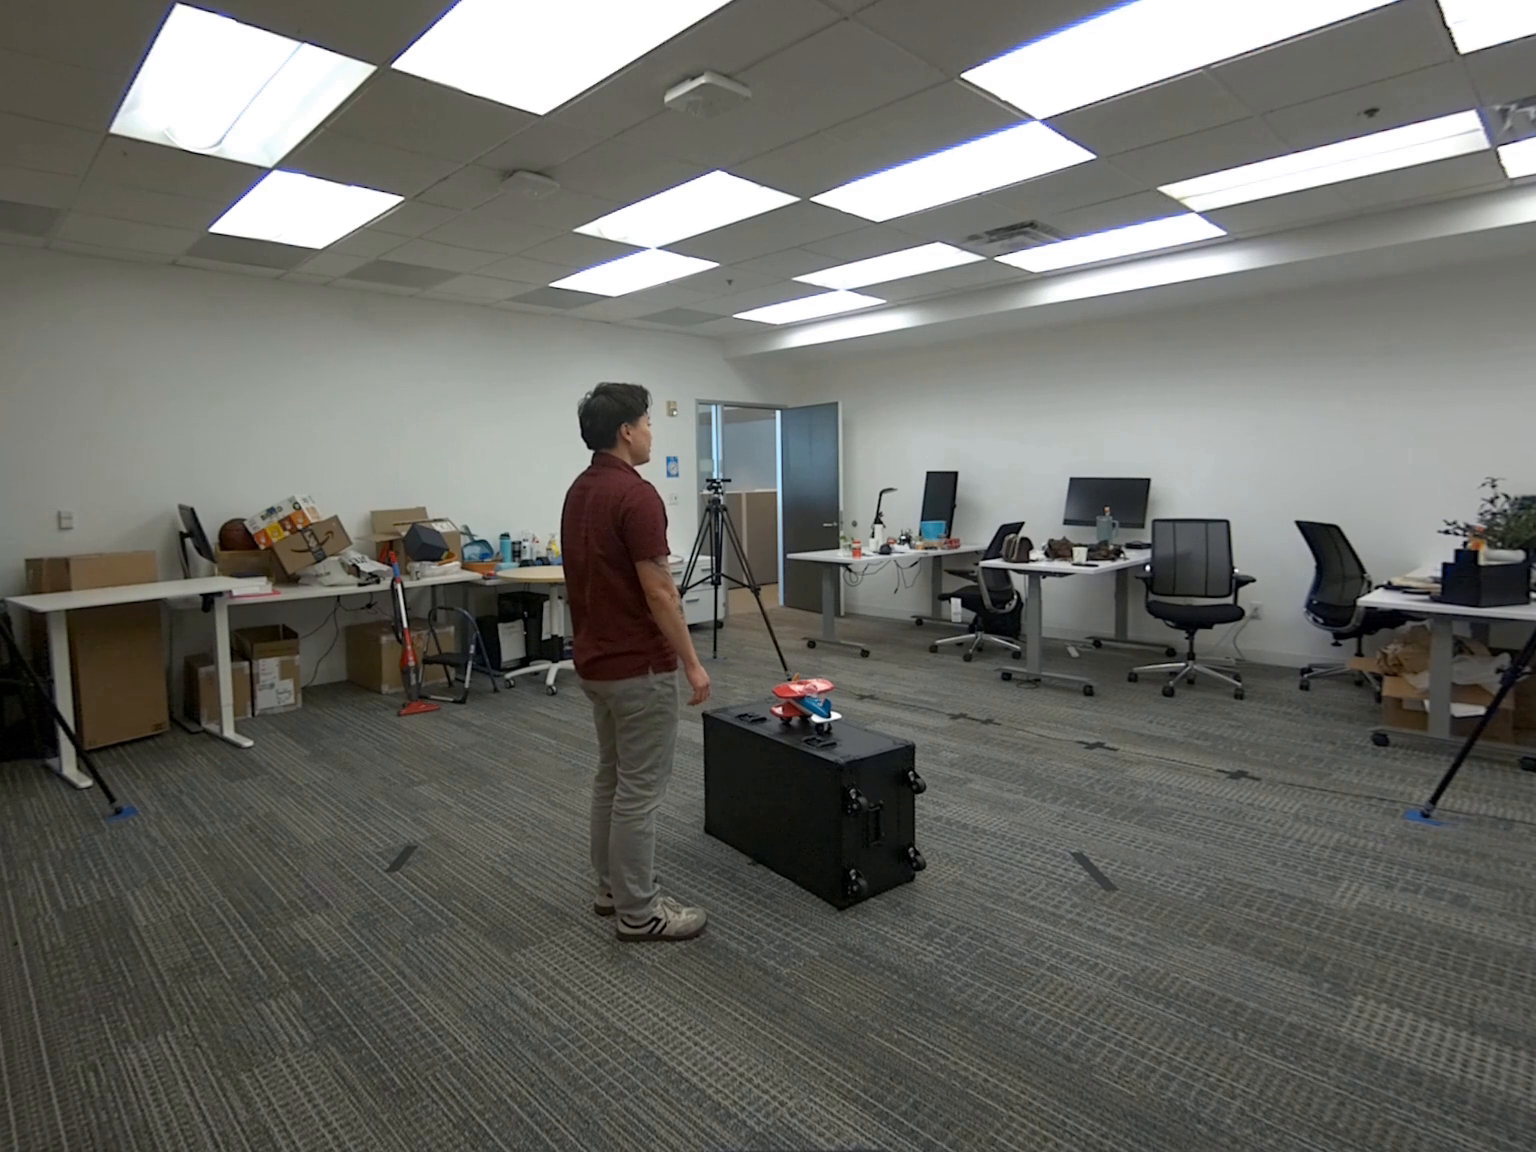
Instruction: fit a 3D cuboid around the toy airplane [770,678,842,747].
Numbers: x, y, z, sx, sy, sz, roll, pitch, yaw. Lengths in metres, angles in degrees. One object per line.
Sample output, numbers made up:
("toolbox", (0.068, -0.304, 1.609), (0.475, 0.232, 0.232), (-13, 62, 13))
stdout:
("toy airplane", (0.162, 0.475, 3.150), (0.266, 0.156, 0.246), (0, 6, 30))
